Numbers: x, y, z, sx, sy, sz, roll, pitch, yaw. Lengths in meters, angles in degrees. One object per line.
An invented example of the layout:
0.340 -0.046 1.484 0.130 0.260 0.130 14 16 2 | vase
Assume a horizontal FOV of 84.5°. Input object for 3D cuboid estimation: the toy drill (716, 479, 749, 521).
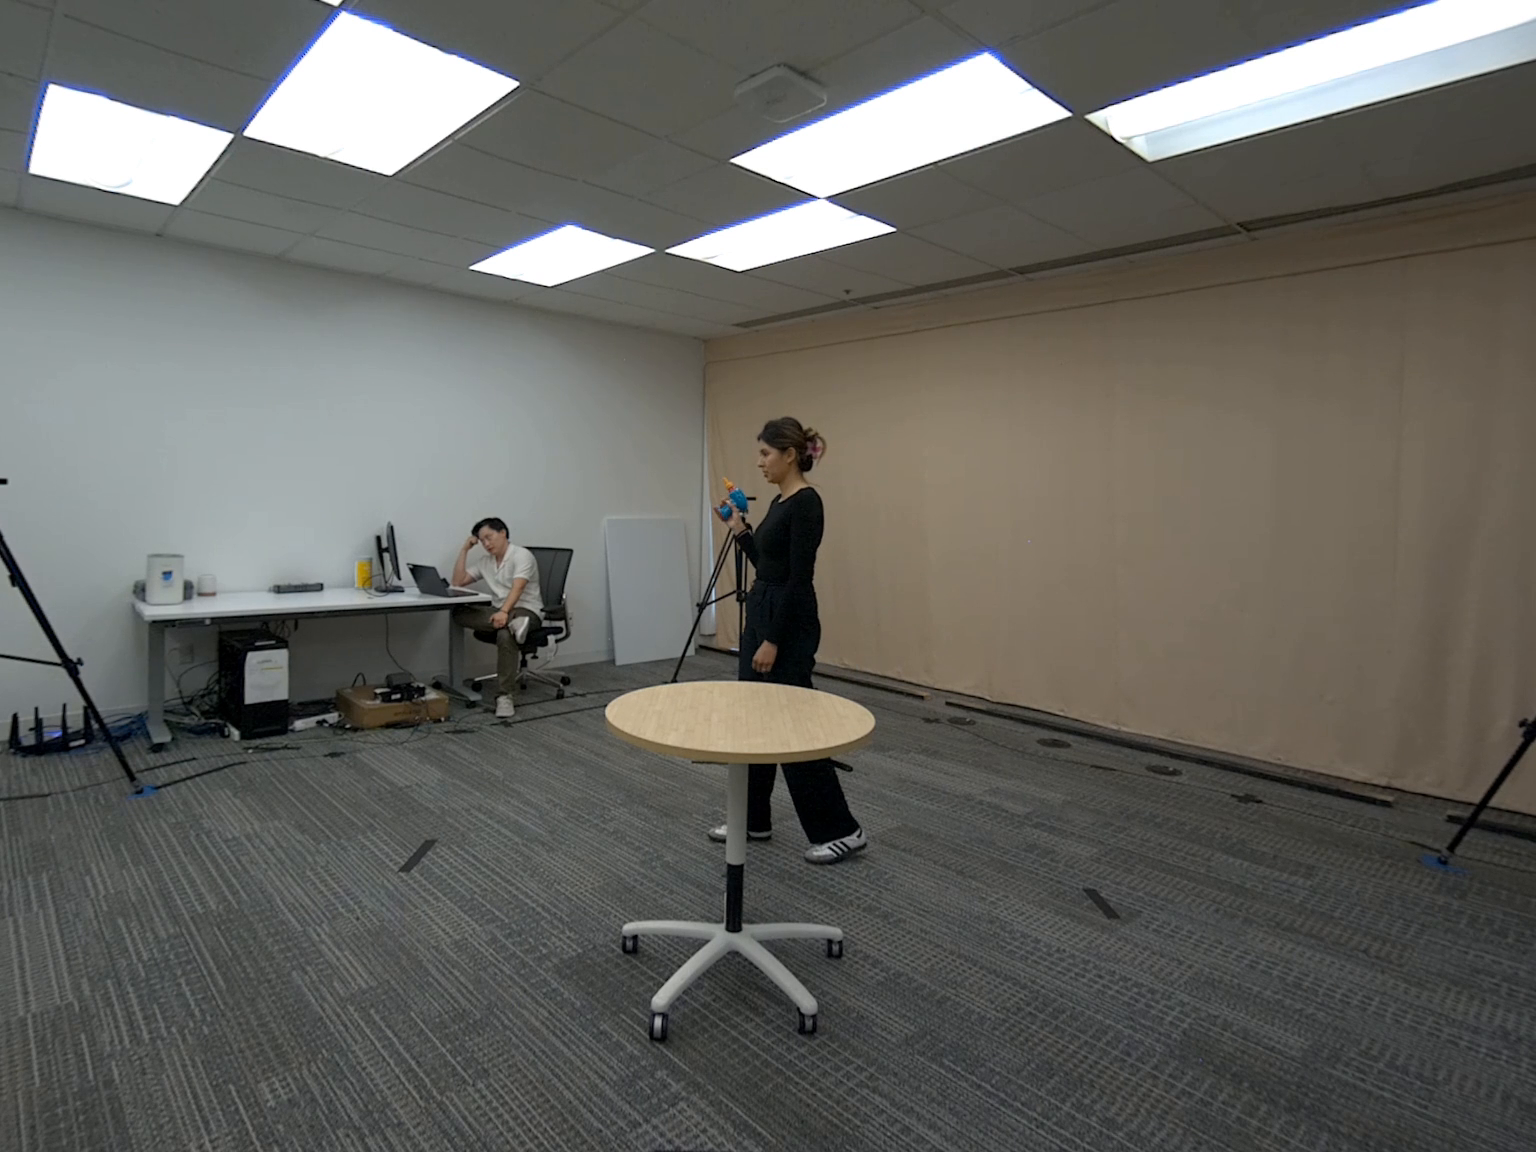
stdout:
-0.178 -0.333 3.588 0.145 0.170 0.061 -33 -2 -10 | toy drill
